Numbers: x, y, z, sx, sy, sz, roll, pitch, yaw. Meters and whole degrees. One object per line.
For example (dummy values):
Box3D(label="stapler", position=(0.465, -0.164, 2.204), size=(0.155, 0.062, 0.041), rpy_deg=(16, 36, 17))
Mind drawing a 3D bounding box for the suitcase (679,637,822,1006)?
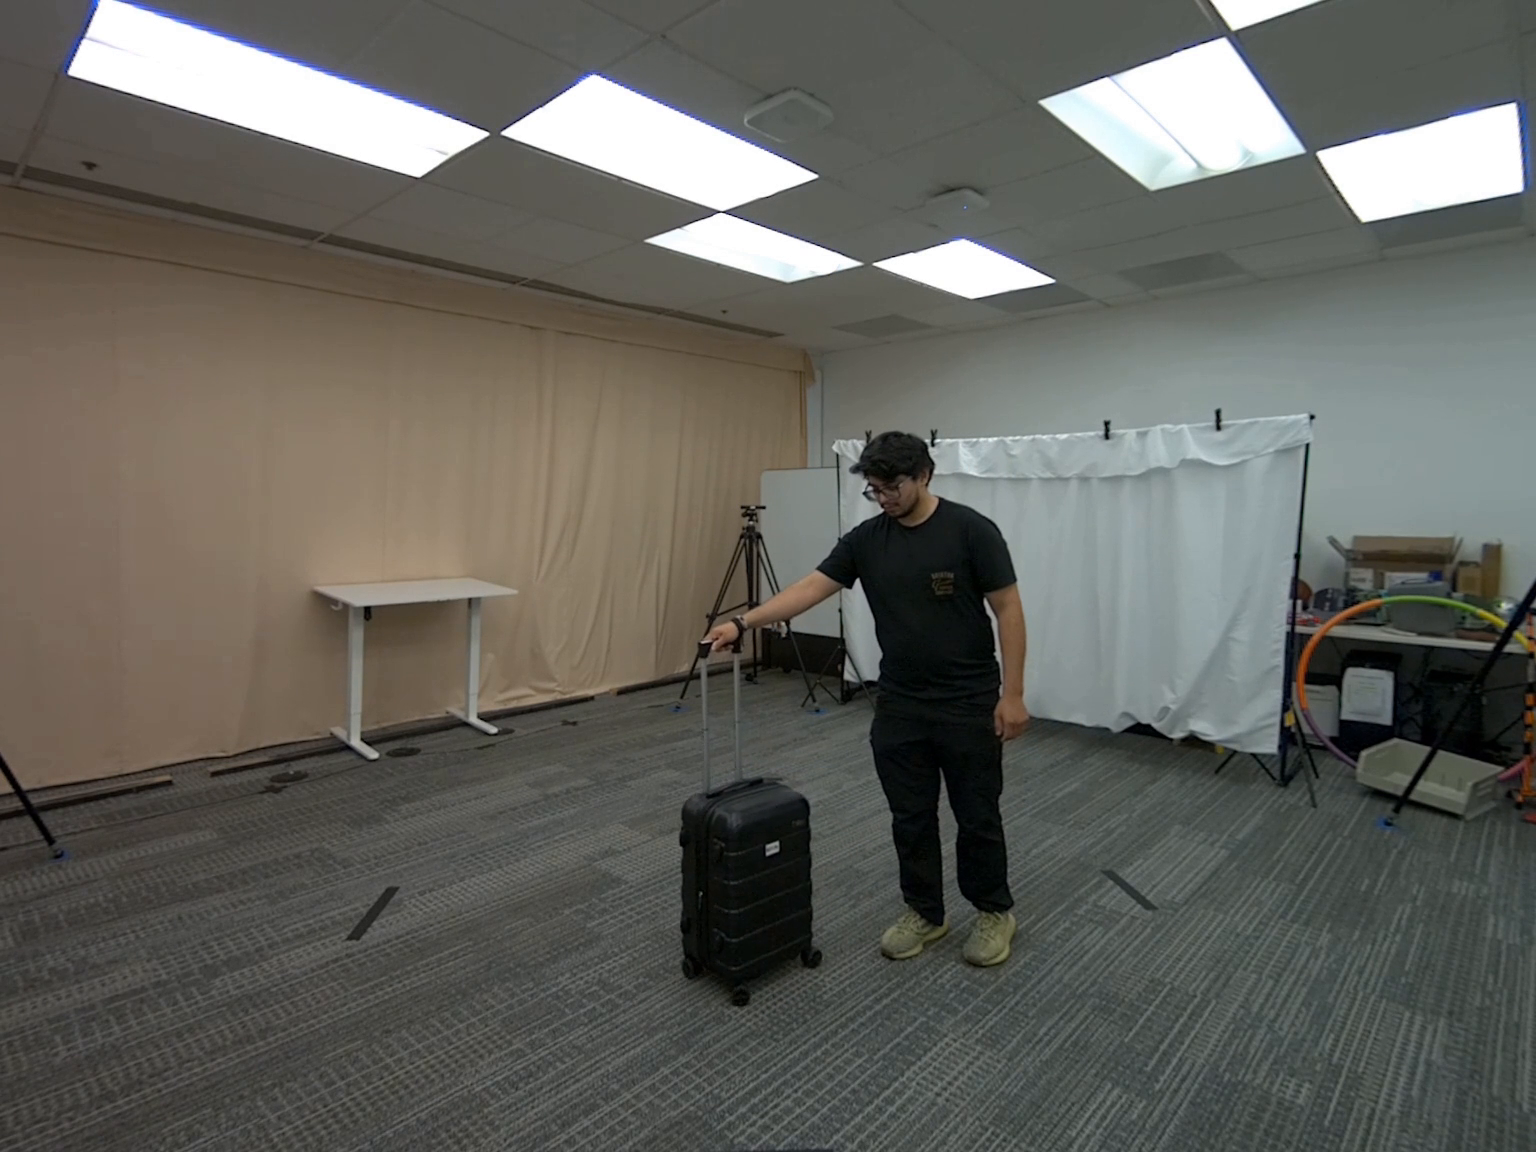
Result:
Box3D(label="suitcase", position=(-0.057, 0.708, 2.506), size=(0.372, 0.976, 0.265), rpy_deg=(-4, 5, -41))
